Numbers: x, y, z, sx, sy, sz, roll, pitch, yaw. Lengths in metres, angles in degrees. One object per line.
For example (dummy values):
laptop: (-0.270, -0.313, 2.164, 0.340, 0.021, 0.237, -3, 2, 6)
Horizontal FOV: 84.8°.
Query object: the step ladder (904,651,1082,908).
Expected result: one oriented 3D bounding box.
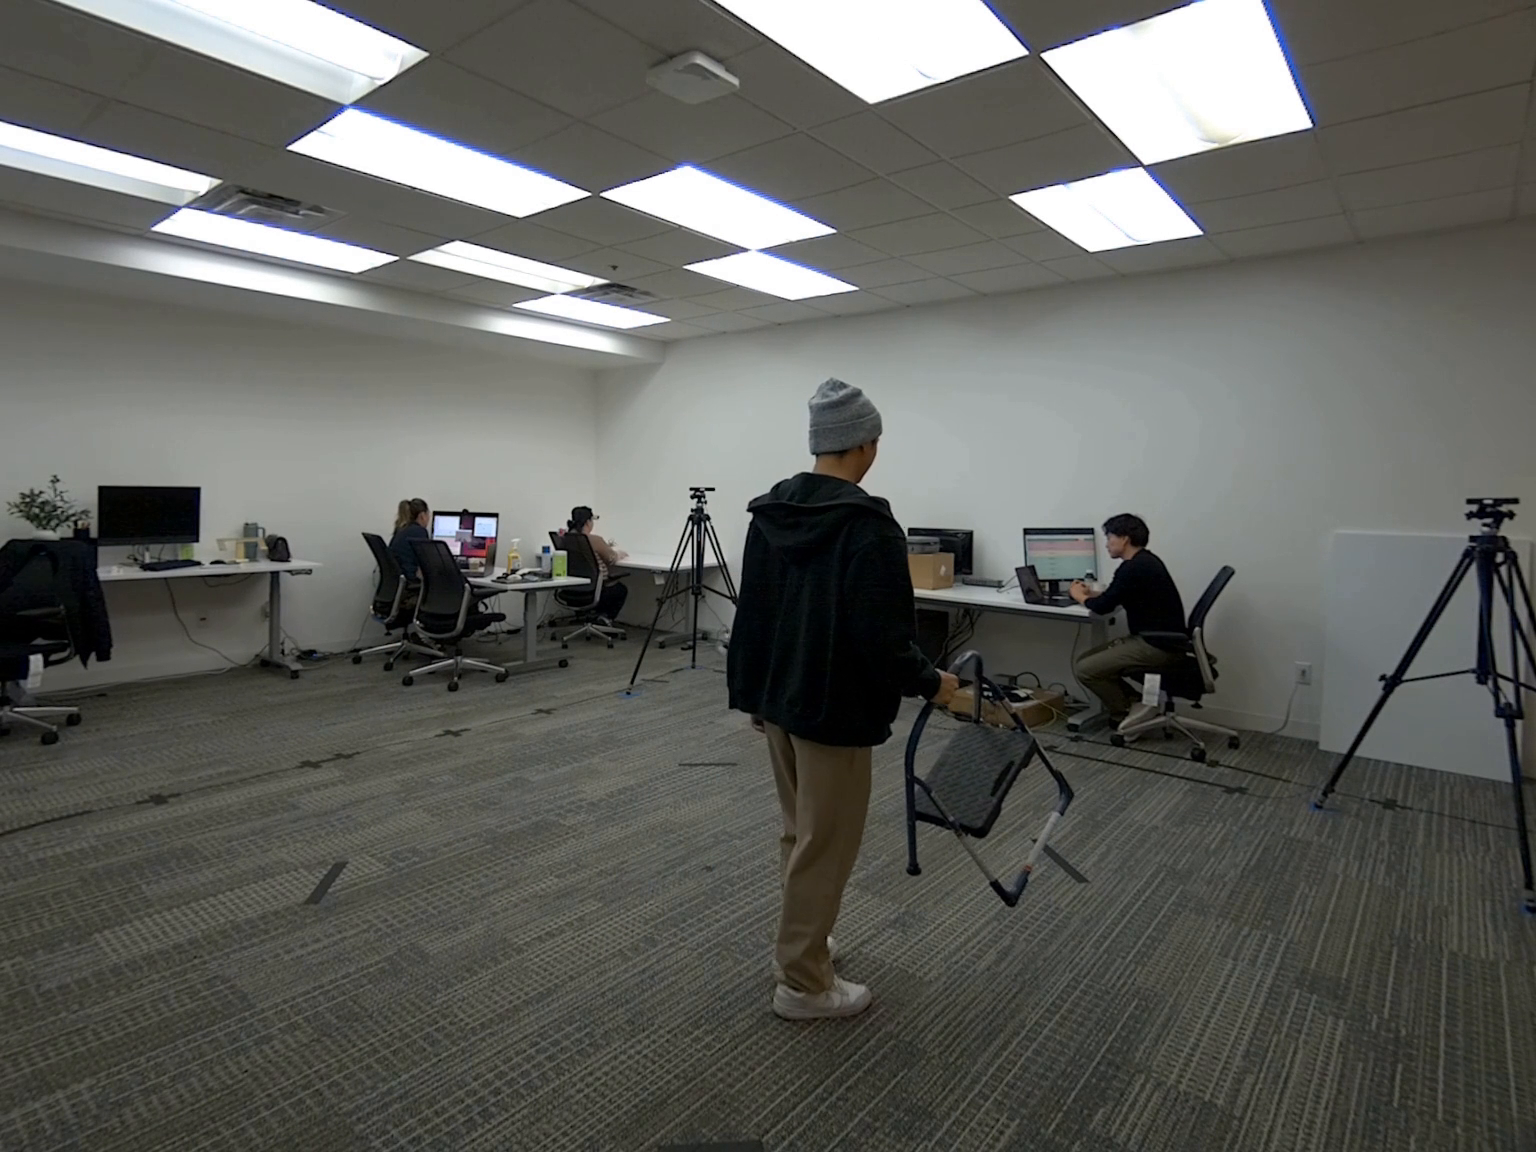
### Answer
step ladder: (0.530, 0.522, 2.393, 0.360, 0.589, 0.429, -1, 34, 48)
